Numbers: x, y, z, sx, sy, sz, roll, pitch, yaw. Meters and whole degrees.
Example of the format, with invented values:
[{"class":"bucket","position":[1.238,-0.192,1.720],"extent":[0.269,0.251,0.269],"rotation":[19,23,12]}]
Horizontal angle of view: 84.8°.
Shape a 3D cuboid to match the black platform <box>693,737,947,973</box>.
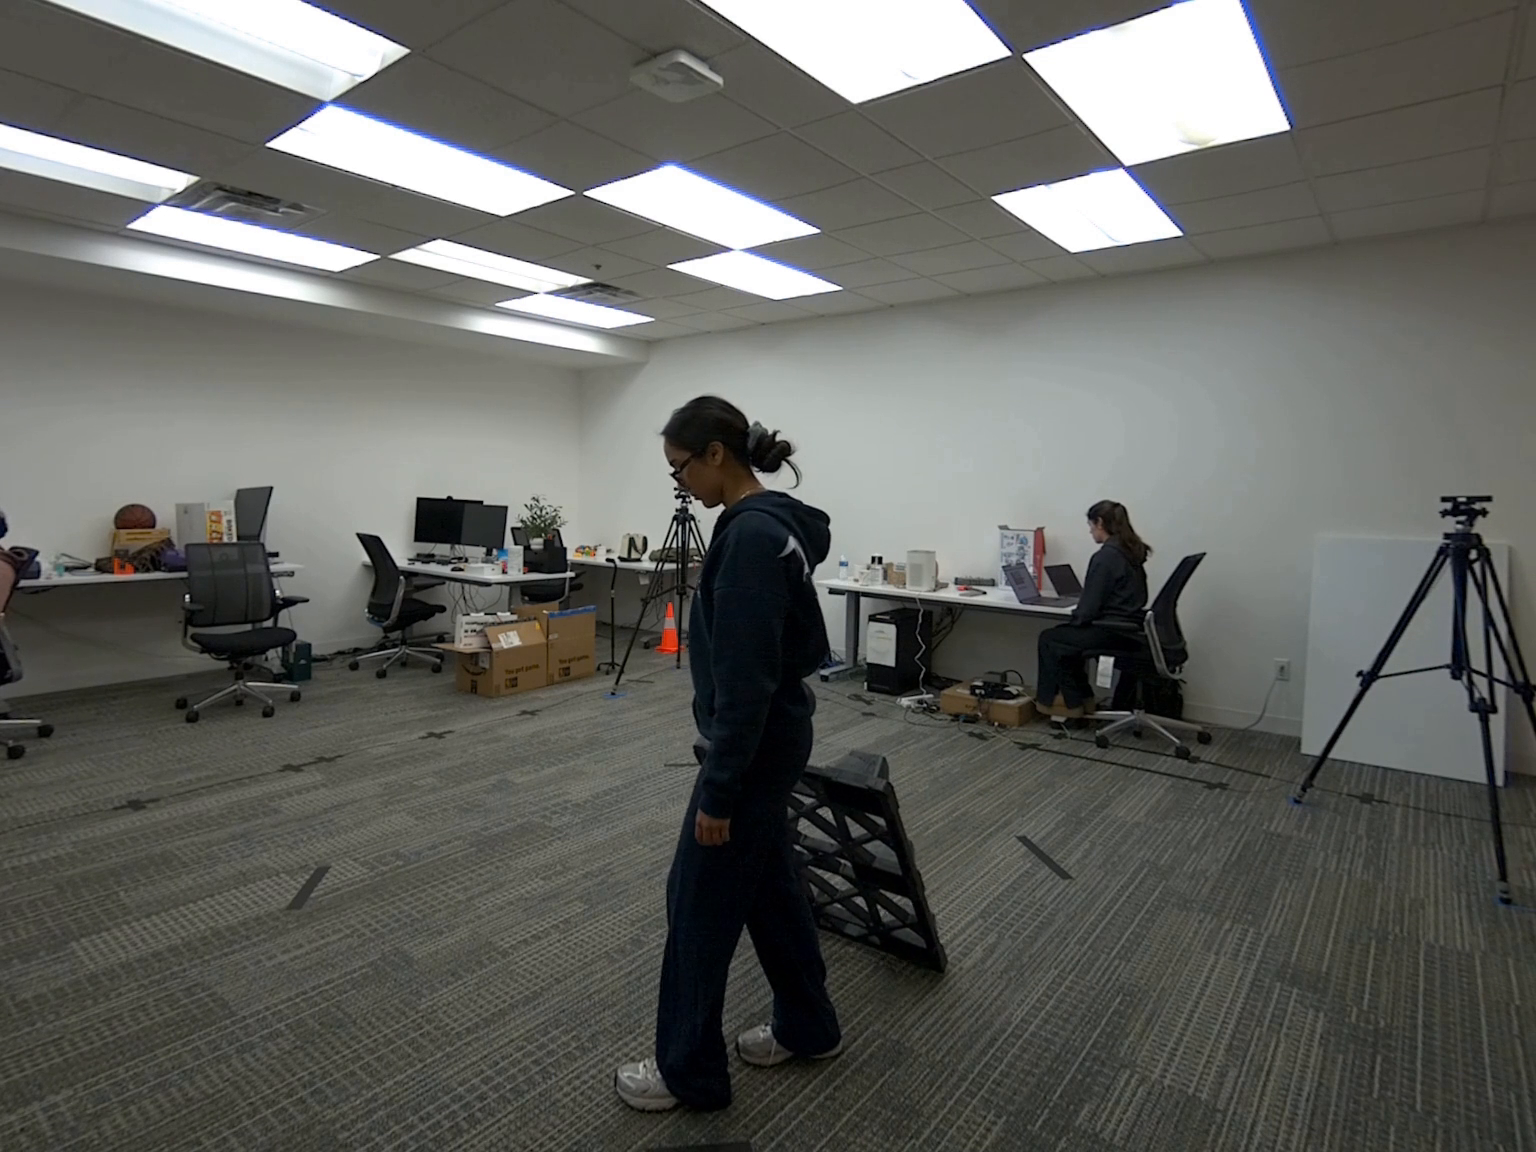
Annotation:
[{"class":"black platform","position":[0.156,0.772,2.458],"extent":[0.625,0.779,0.143],"rotation":[5,38,35]}]
